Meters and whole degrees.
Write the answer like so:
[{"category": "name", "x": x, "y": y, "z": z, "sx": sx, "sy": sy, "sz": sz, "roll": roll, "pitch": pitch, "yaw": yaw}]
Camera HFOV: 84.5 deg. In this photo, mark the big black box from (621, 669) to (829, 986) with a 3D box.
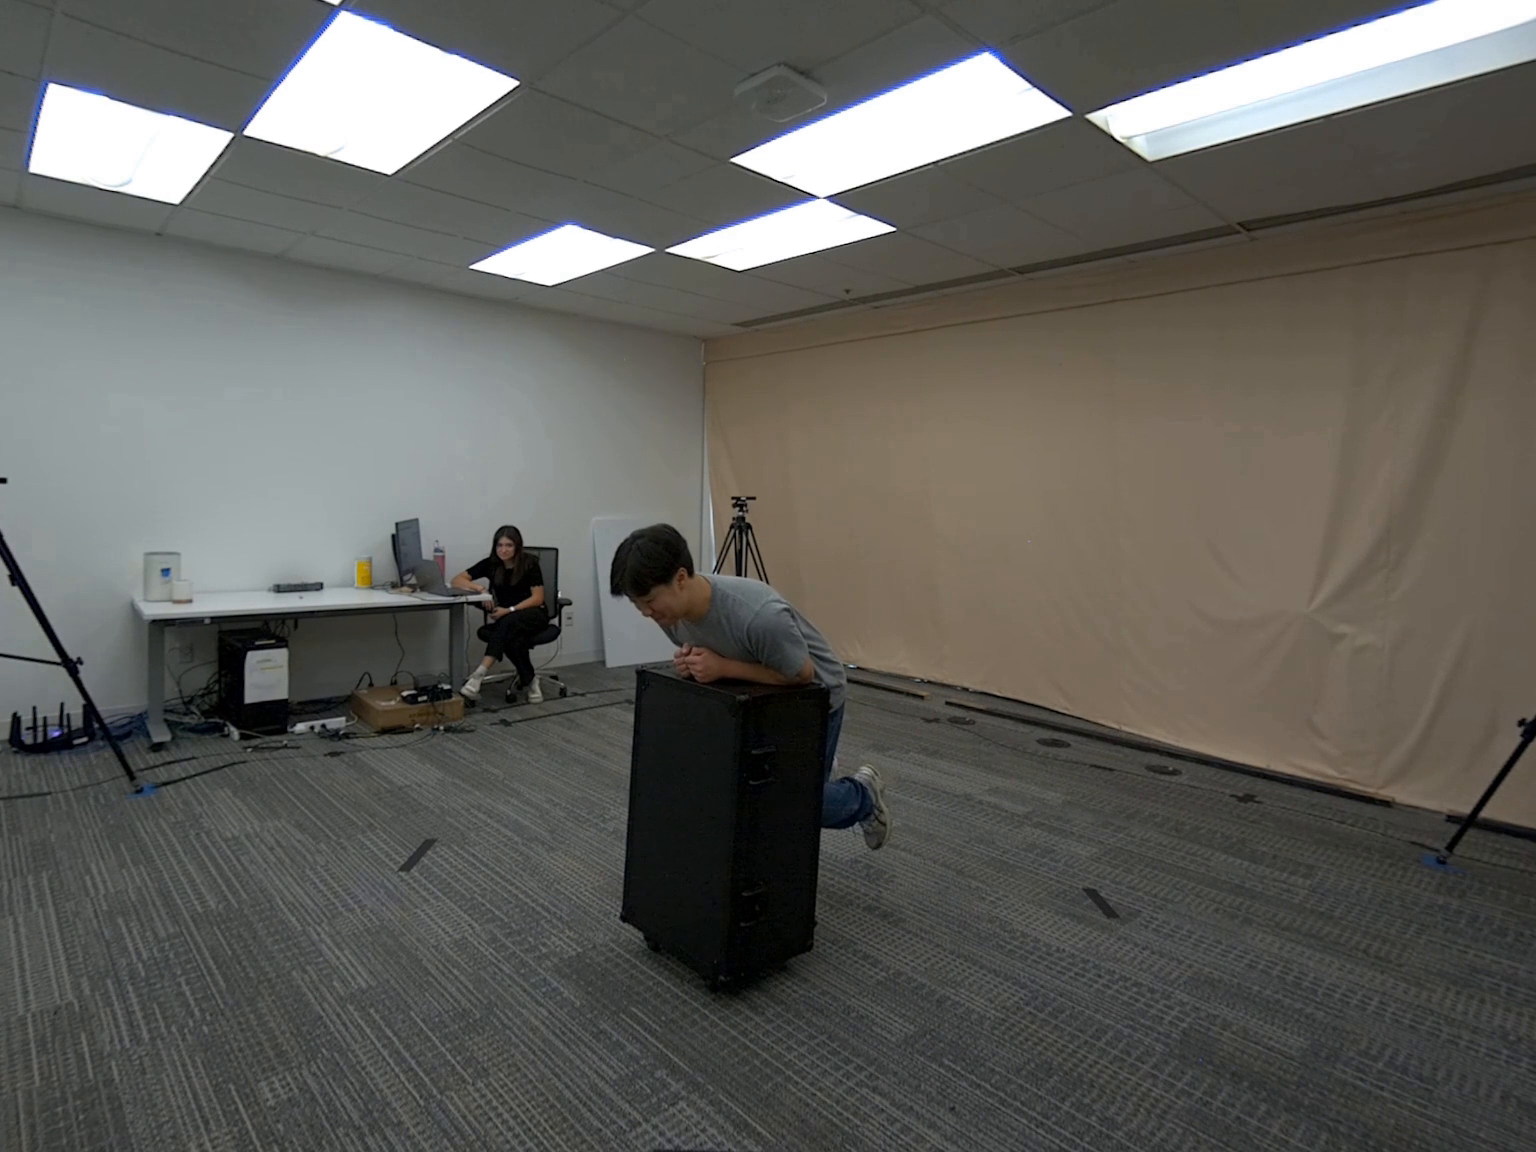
[{"category": "big black box", "x": -0.137, "y": 0.726, "z": 2.532, "sx": 0.386, "sy": 0.861, "sz": 0.534, "roll": 3, "pitch": 1, "yaw": -44}]
